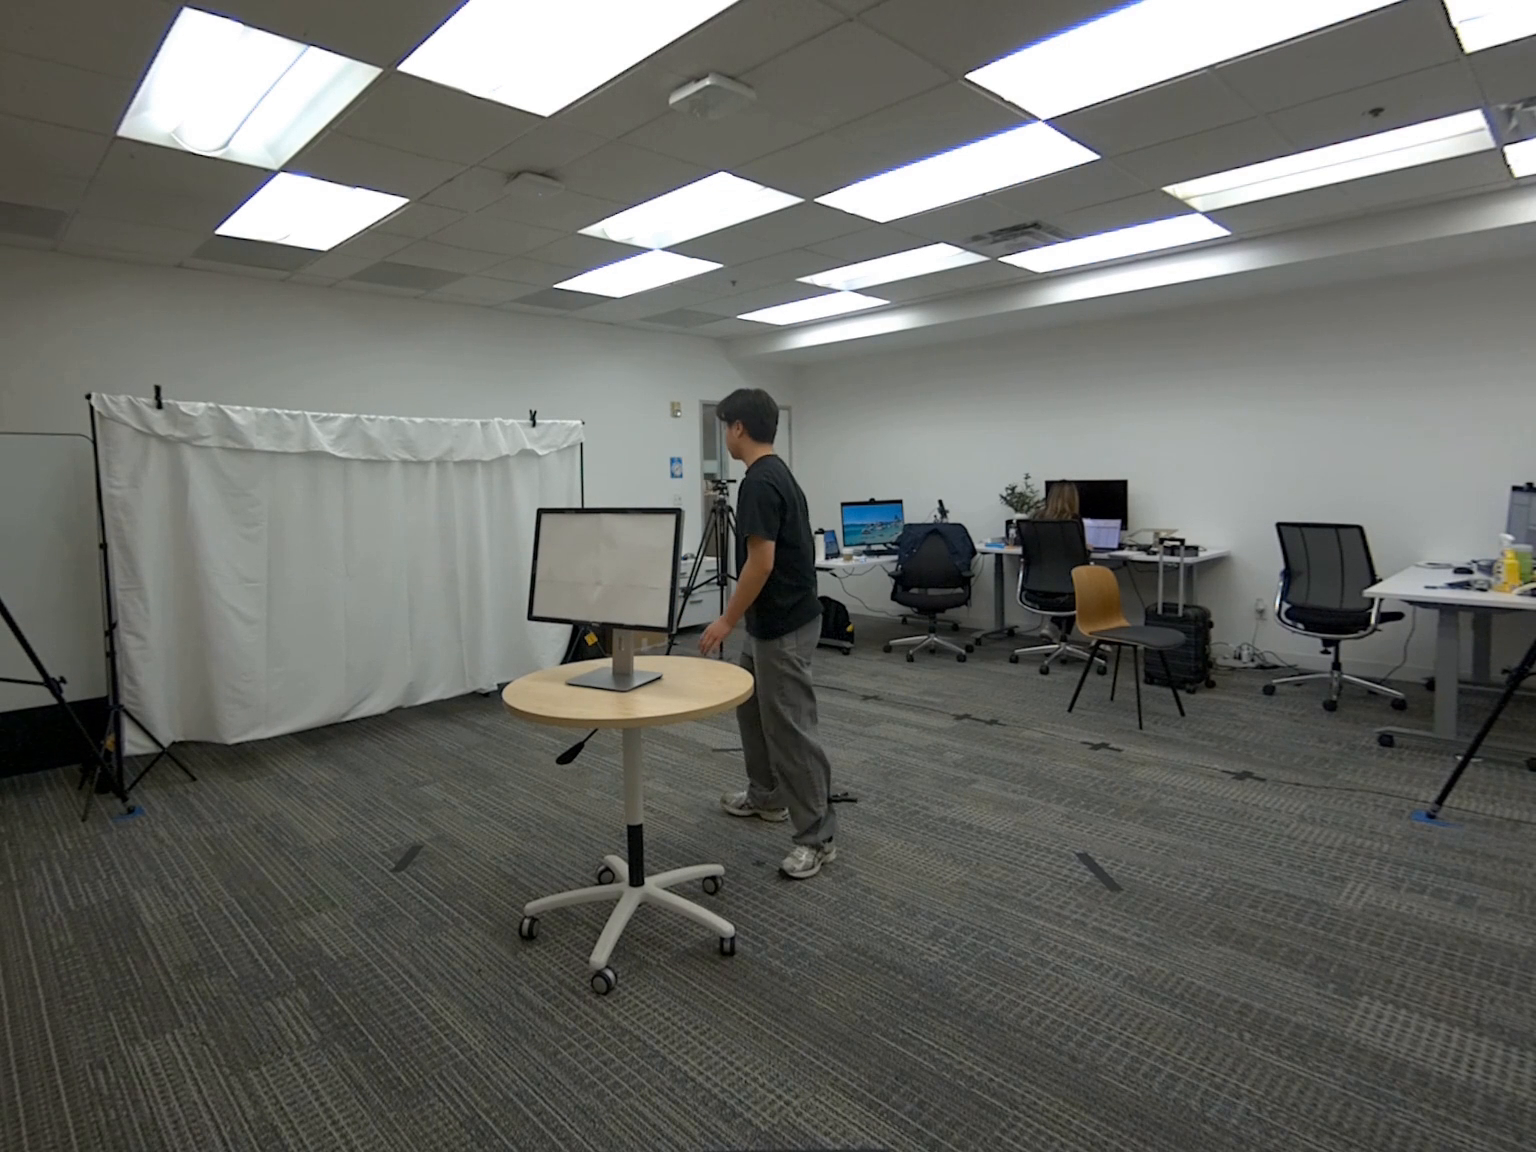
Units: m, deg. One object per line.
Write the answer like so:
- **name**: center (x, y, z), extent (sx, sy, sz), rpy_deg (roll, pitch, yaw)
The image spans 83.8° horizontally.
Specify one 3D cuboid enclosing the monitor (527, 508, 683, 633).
- **monitor**: center (-0.486, 0.072, 2.636), extent (0.577, 0.562, 0.217), rpy_deg (2, 8, 33)
